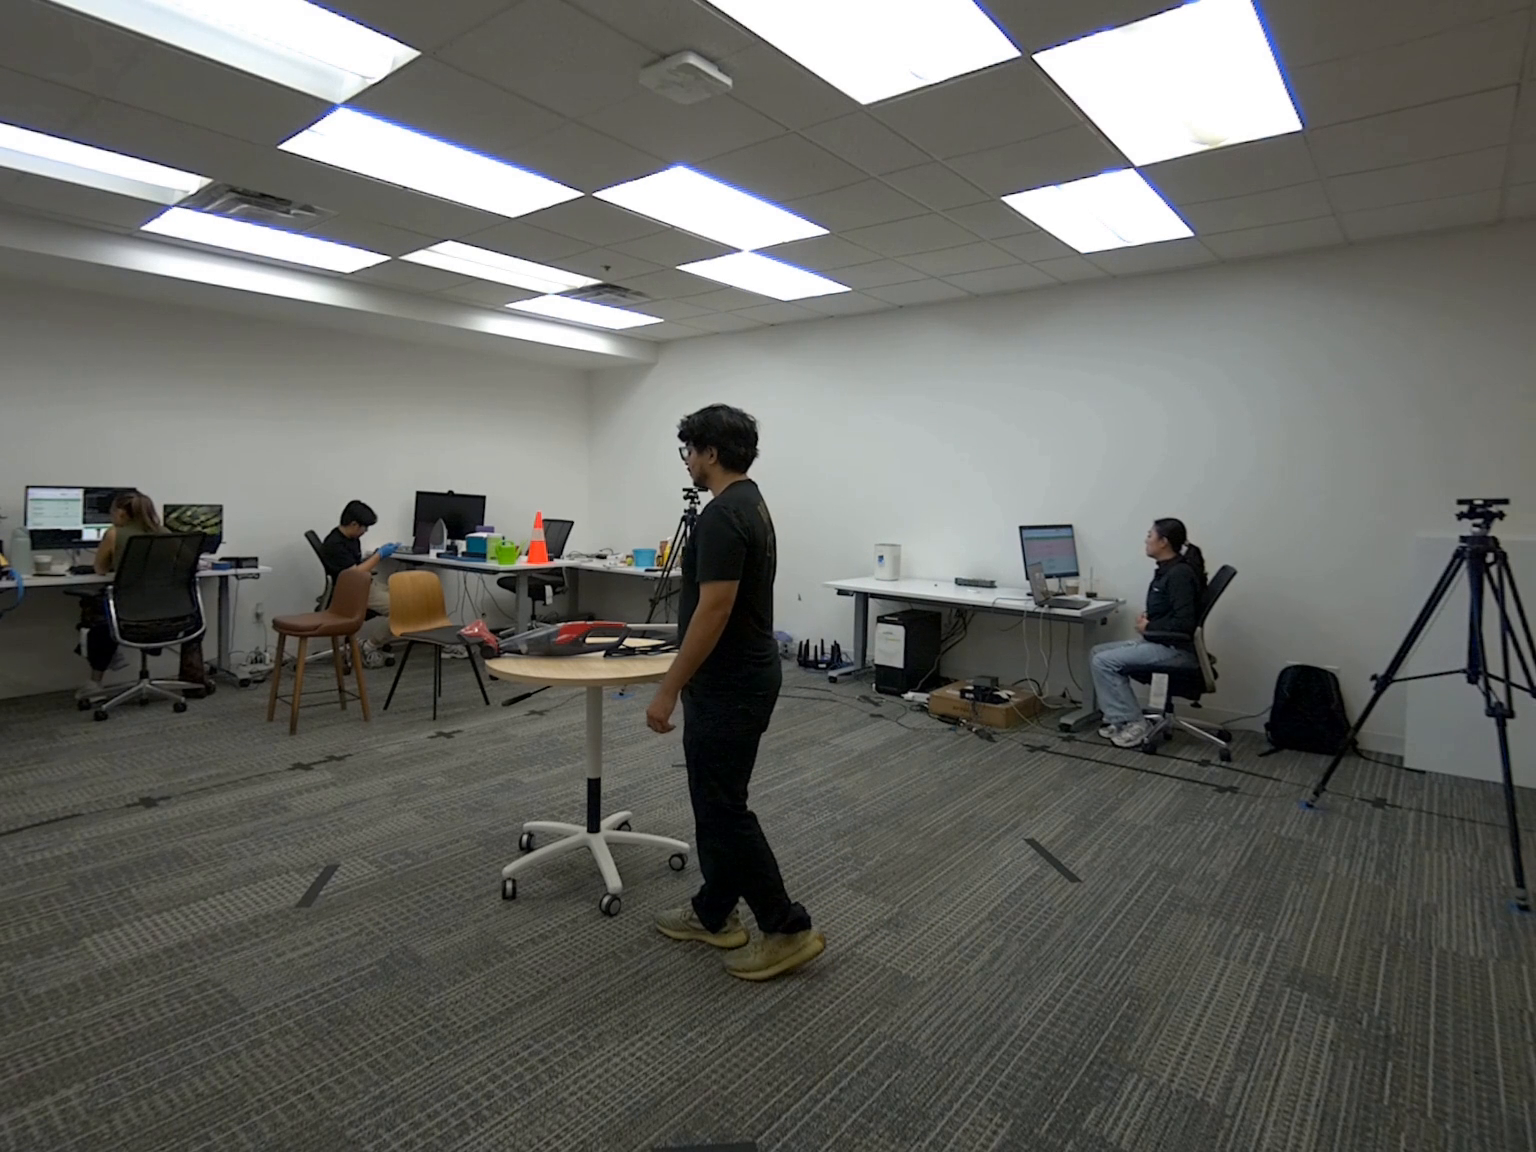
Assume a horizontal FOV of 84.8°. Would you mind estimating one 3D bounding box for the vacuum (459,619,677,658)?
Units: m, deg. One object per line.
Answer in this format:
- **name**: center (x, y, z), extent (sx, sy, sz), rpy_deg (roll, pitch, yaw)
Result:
- **vacuum**: center (-0.524, 0.227, 3.029), extent (1.049, 0.144, 0.253), rpy_deg (0, 2, 0)
